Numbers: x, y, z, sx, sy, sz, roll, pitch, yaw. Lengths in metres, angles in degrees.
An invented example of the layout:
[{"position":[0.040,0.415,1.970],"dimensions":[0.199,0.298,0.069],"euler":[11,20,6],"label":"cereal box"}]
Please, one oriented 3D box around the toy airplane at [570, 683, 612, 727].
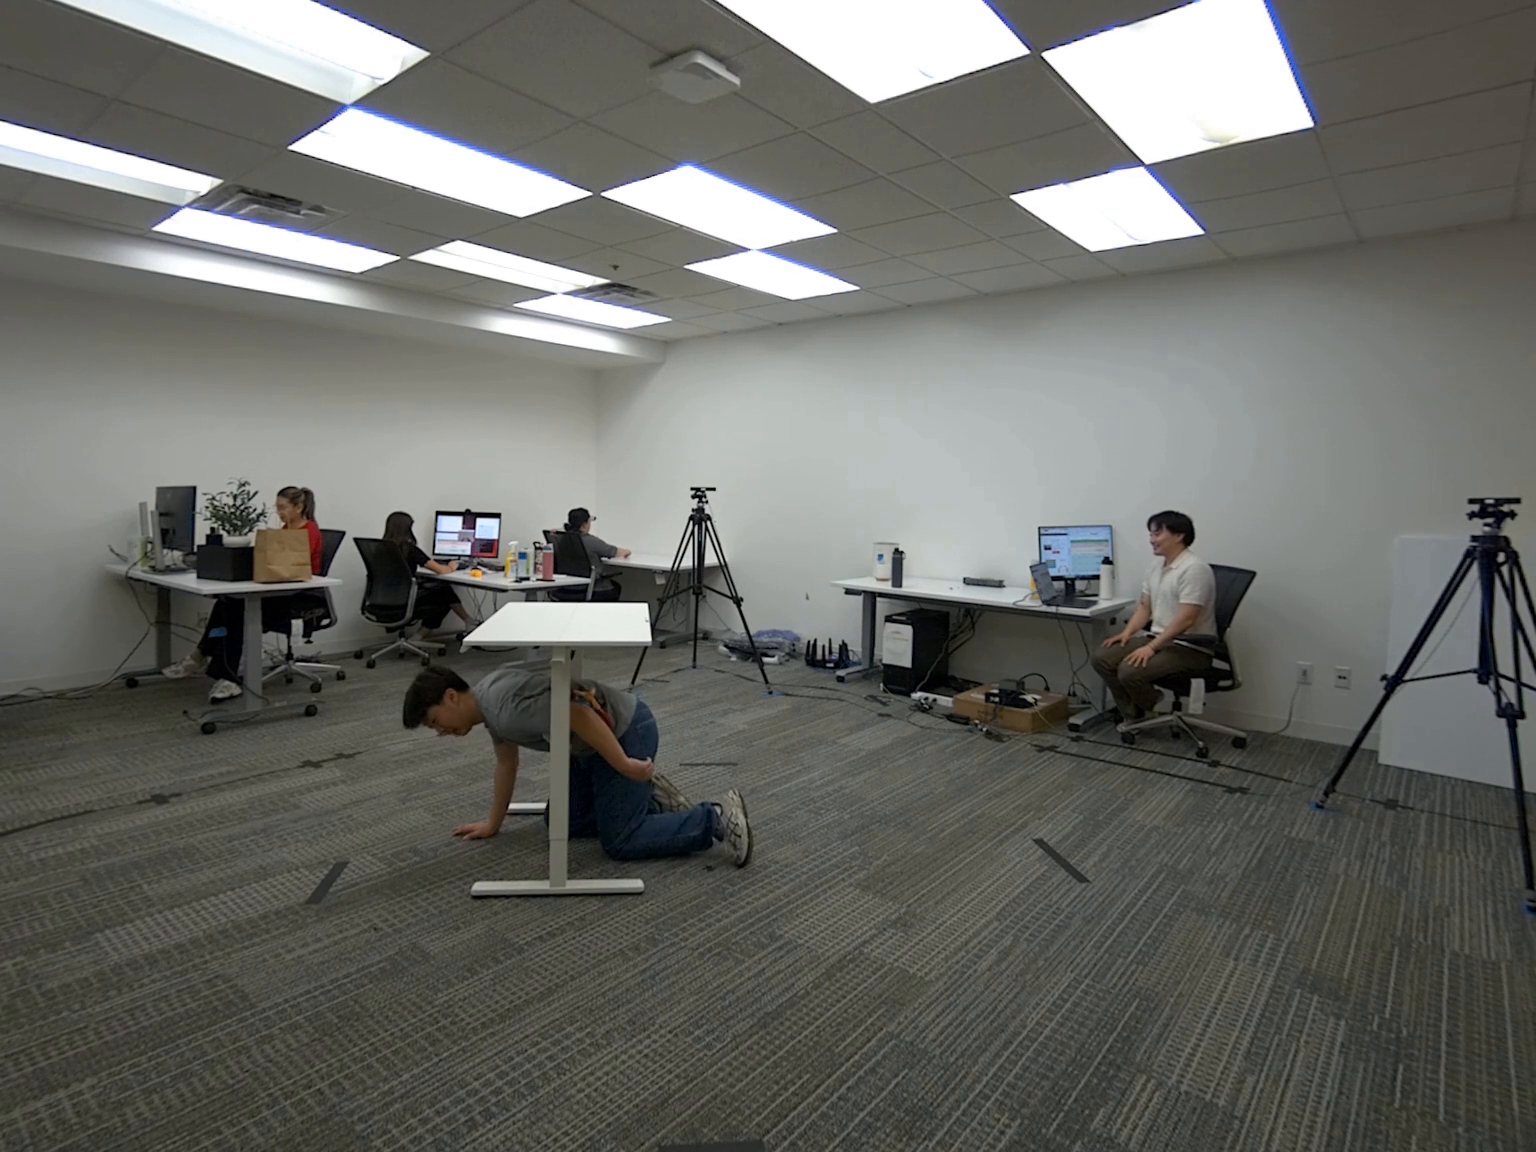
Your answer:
[{"position":[-0.723,0.538,3.161],"dimensions":[0.252,0.259,0.156],"euler":[7,1,1],"label":"toy airplane"}]
